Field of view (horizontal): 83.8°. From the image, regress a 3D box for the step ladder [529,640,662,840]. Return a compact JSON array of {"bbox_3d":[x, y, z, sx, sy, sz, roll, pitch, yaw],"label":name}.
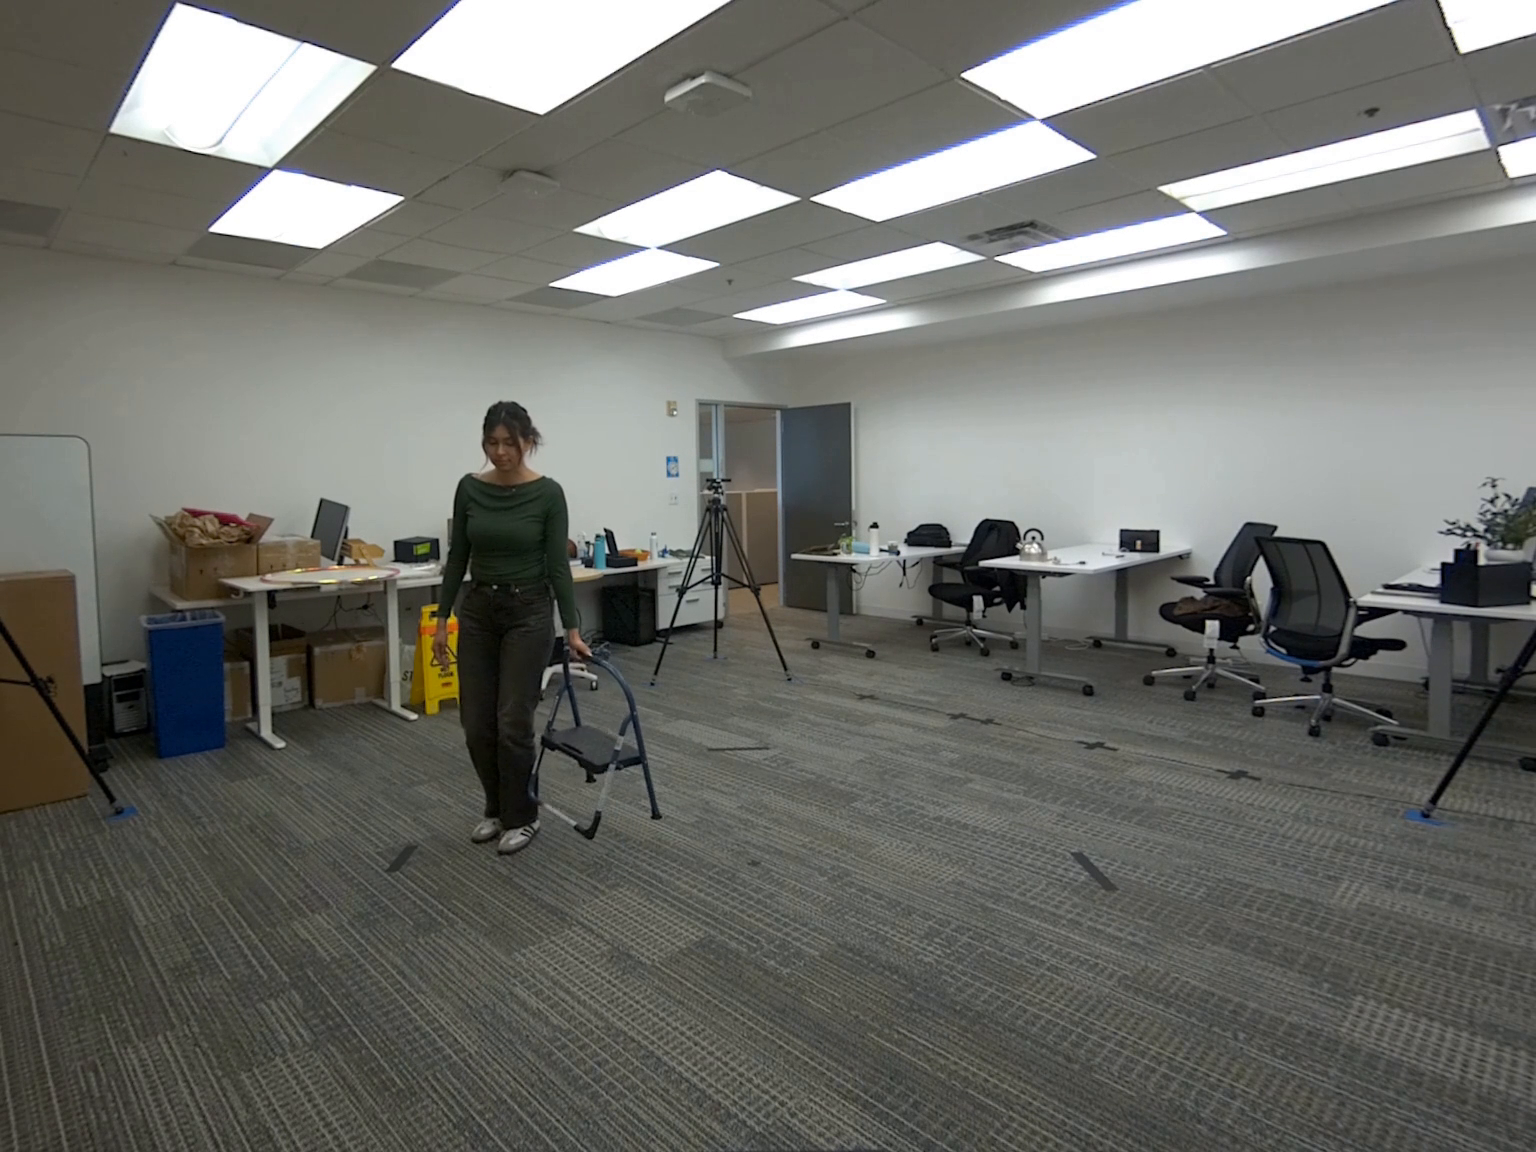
[{"bbox_3d":[-0.639,0.597,3.226,0.445,0.603,0.339,11,8,40],"label":"step ladder"}]
